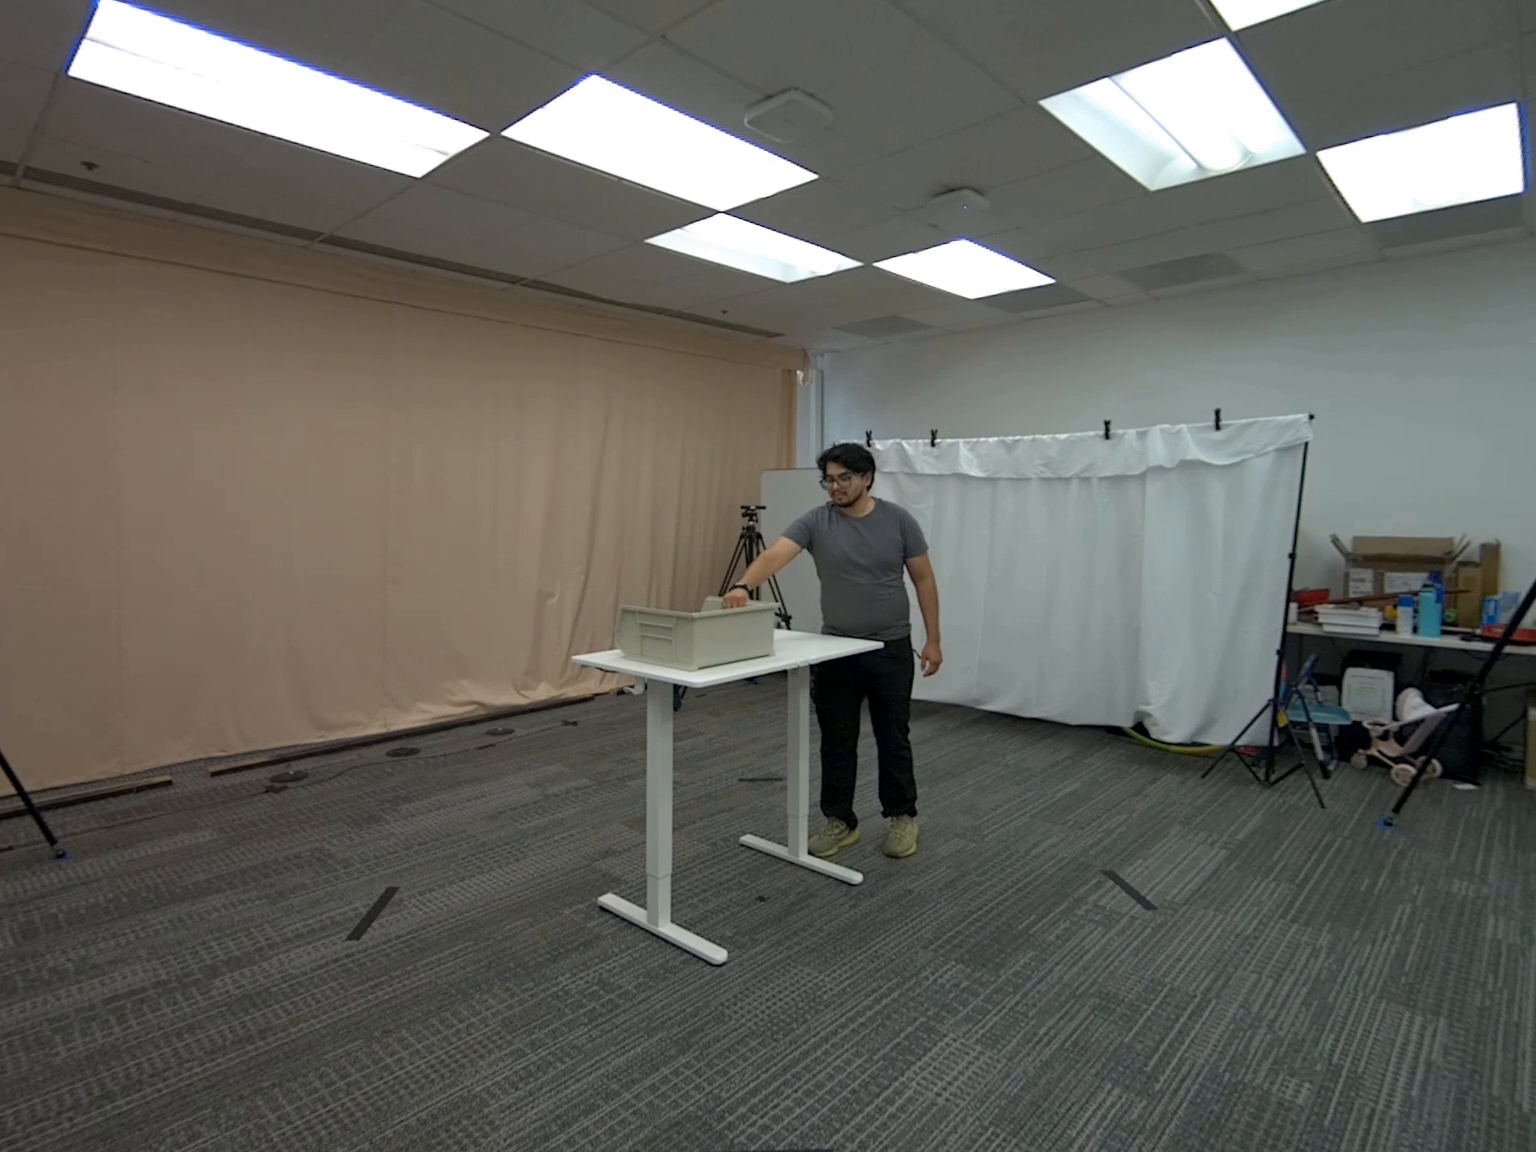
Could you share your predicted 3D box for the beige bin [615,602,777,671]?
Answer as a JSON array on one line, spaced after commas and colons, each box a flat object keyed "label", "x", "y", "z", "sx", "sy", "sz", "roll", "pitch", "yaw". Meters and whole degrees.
[{"label": "beige bin", "x": -0.238, "y": 0.184, "z": 2.835, "sx": 0.390, "sy": 0.188, "sz": 0.409, "roll": 6, "pitch": 6, "yaw": 42}]
